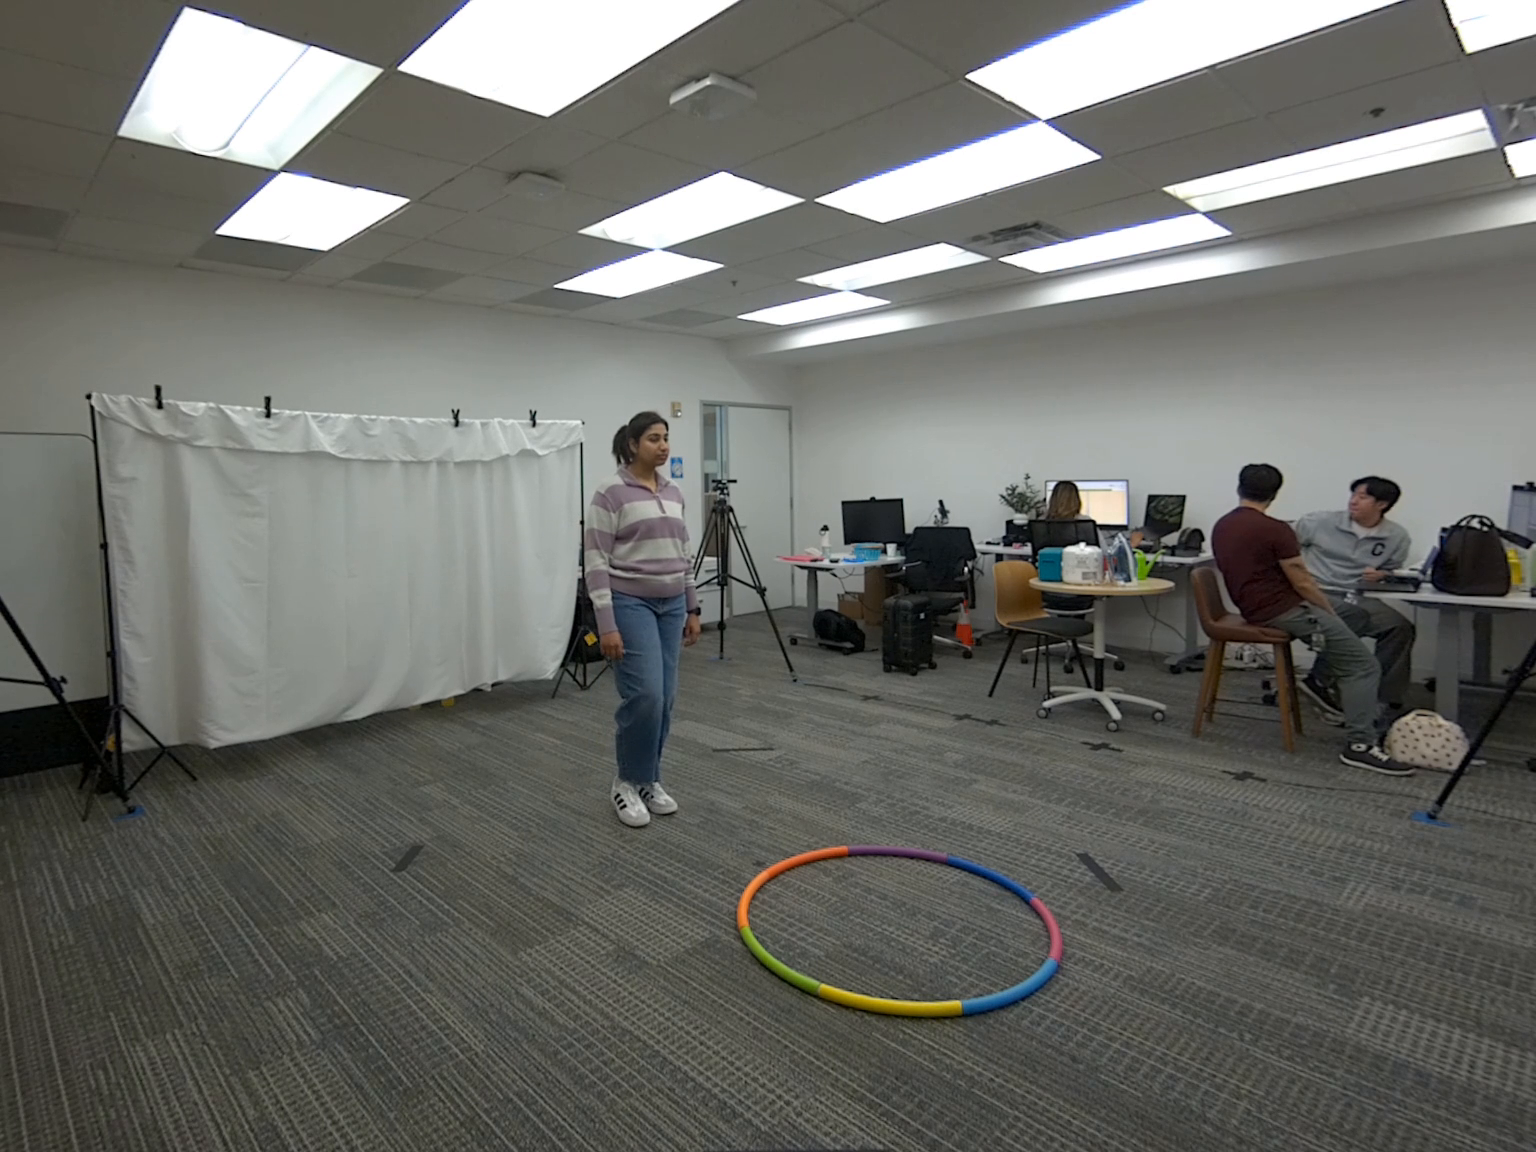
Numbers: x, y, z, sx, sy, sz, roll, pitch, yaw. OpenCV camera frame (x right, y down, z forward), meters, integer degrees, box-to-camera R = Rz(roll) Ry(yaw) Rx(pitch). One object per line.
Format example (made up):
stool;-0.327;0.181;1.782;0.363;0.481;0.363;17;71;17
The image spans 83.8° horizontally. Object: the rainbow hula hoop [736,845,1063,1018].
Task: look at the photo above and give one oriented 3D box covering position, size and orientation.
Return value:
rainbow hula hoop;0.395;1.057;2.689;0.978;0.035;0.984;-2;7;-2
